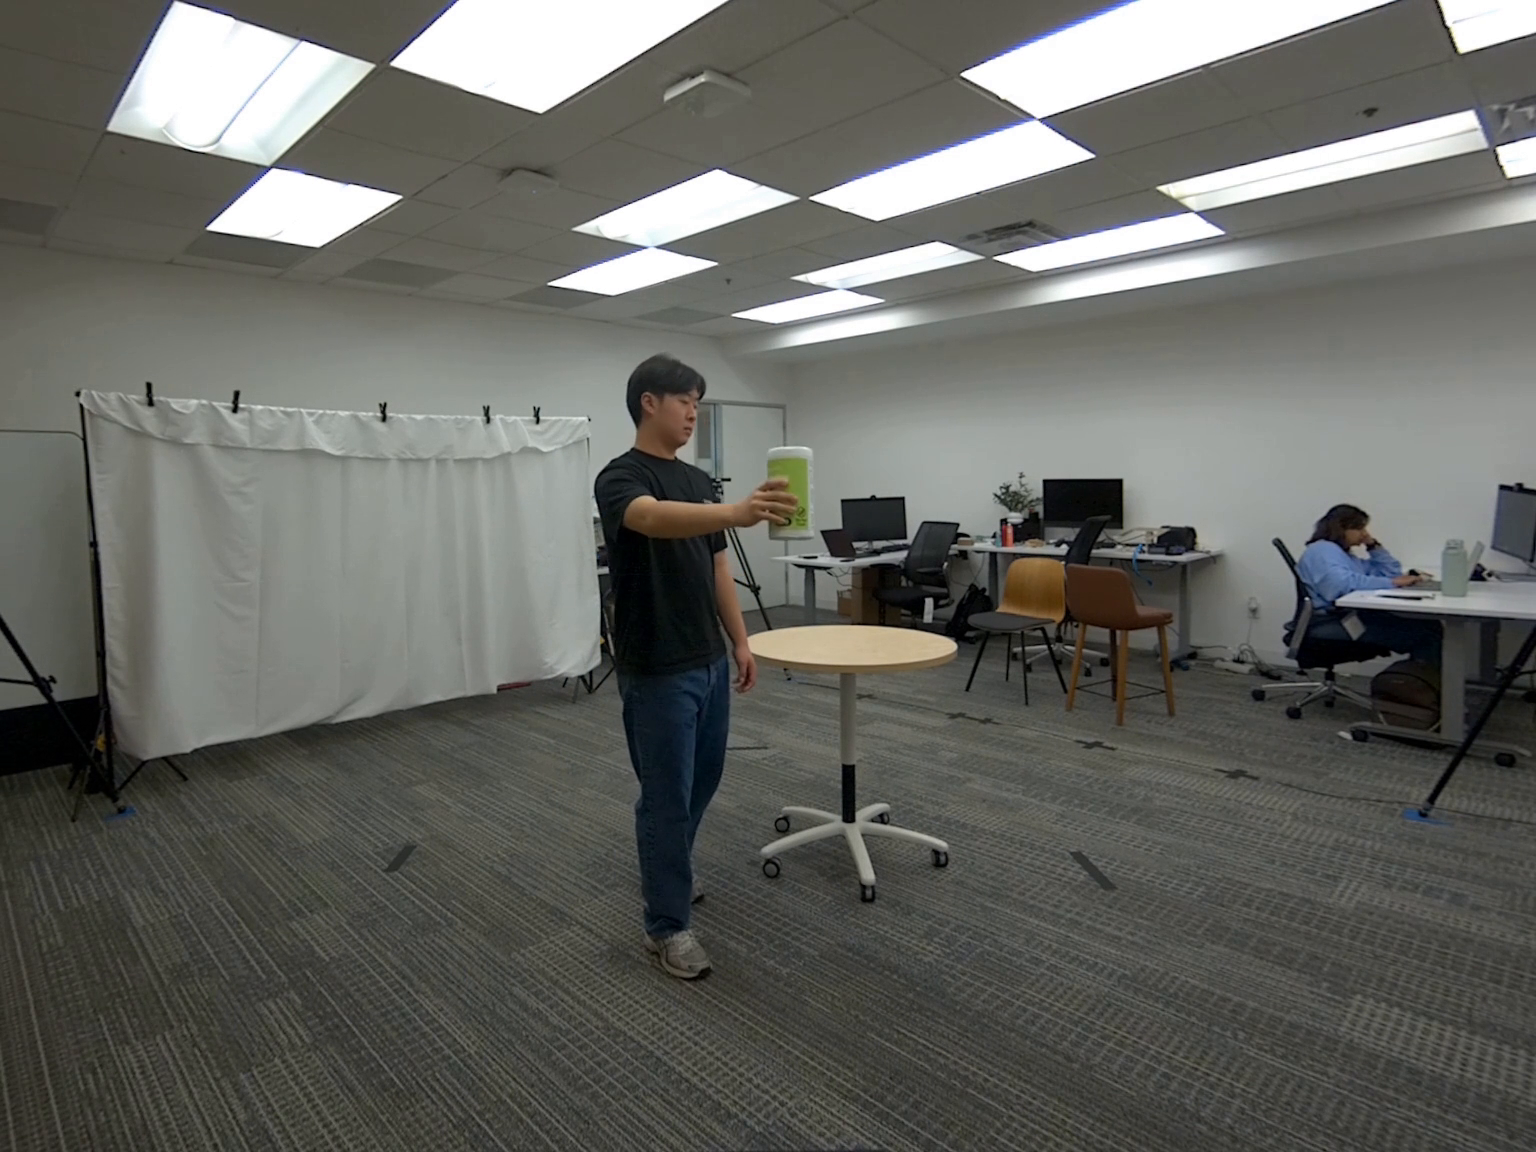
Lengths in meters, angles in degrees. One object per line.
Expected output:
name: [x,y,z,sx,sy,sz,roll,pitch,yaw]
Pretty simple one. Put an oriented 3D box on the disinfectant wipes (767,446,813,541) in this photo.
disinfectant wipes: [0.061,-0.189,2.030,0.118,0.218,0.118,-1,-2,-2]
